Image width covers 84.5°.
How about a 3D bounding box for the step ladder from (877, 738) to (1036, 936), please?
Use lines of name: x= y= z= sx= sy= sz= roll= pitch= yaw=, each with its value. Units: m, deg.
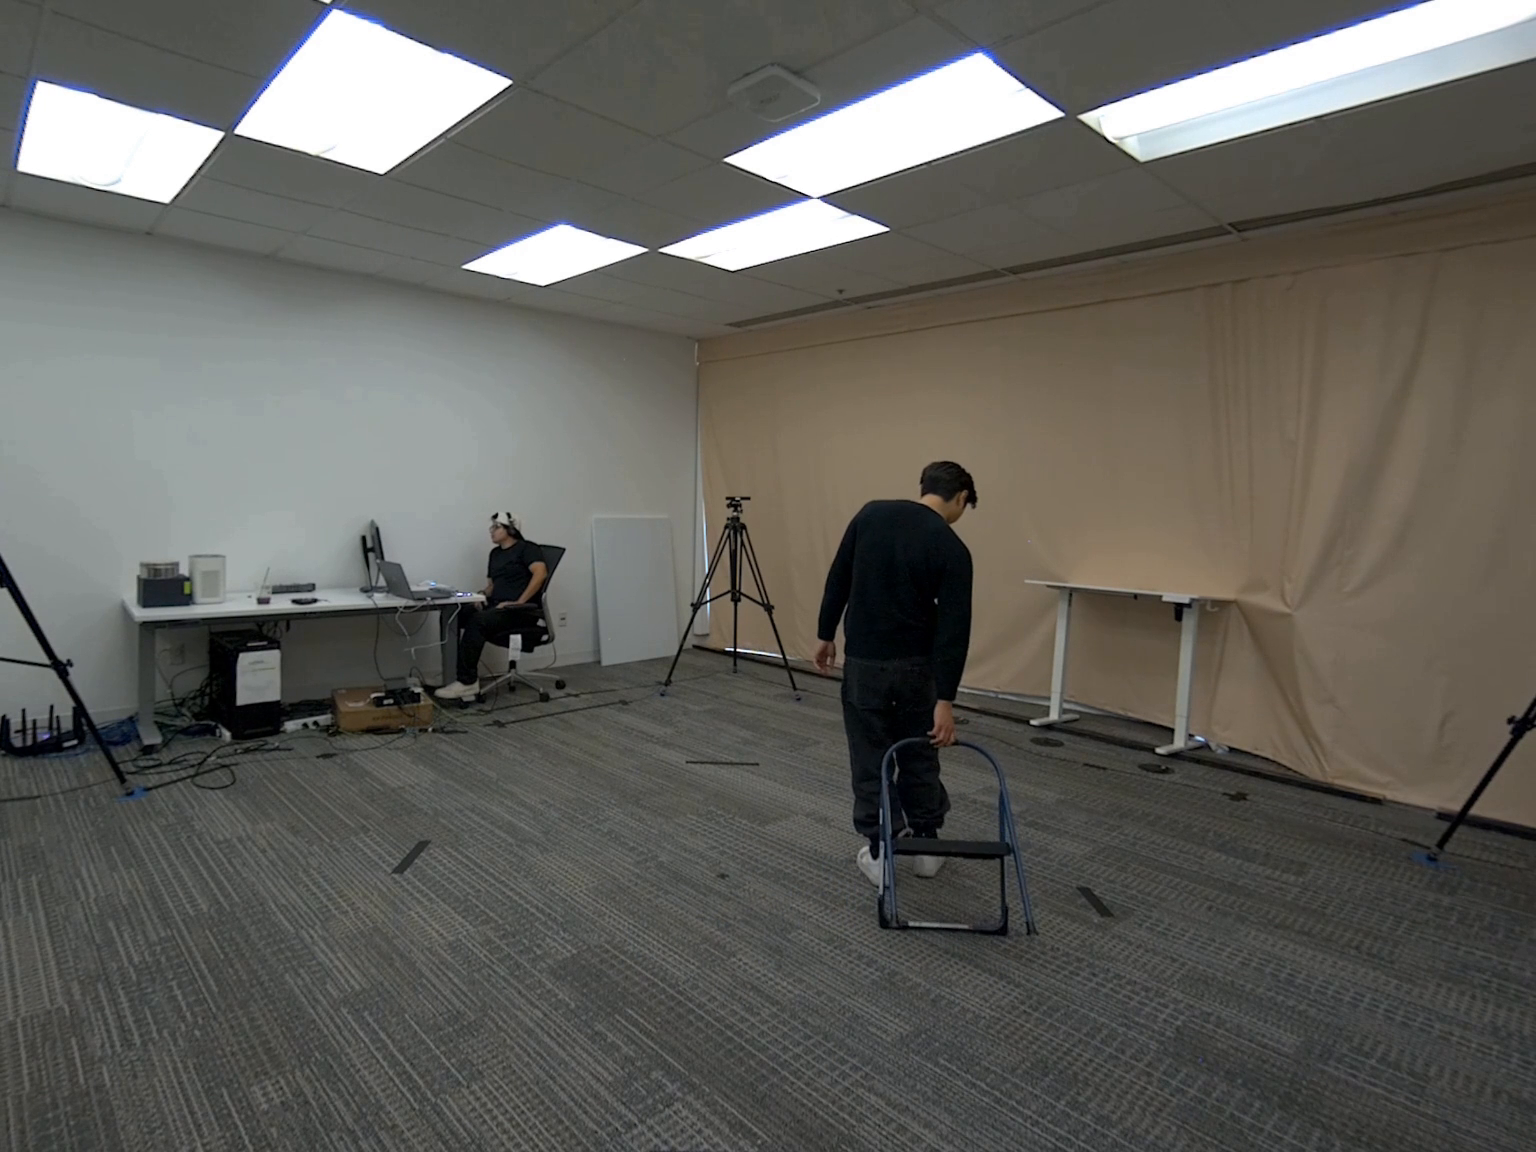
step ladder: x=0.578 y=0.822 z=2.717 sx=0.432 sy=0.615 sz=0.343 roll=2 pitch=-24 yaw=2
